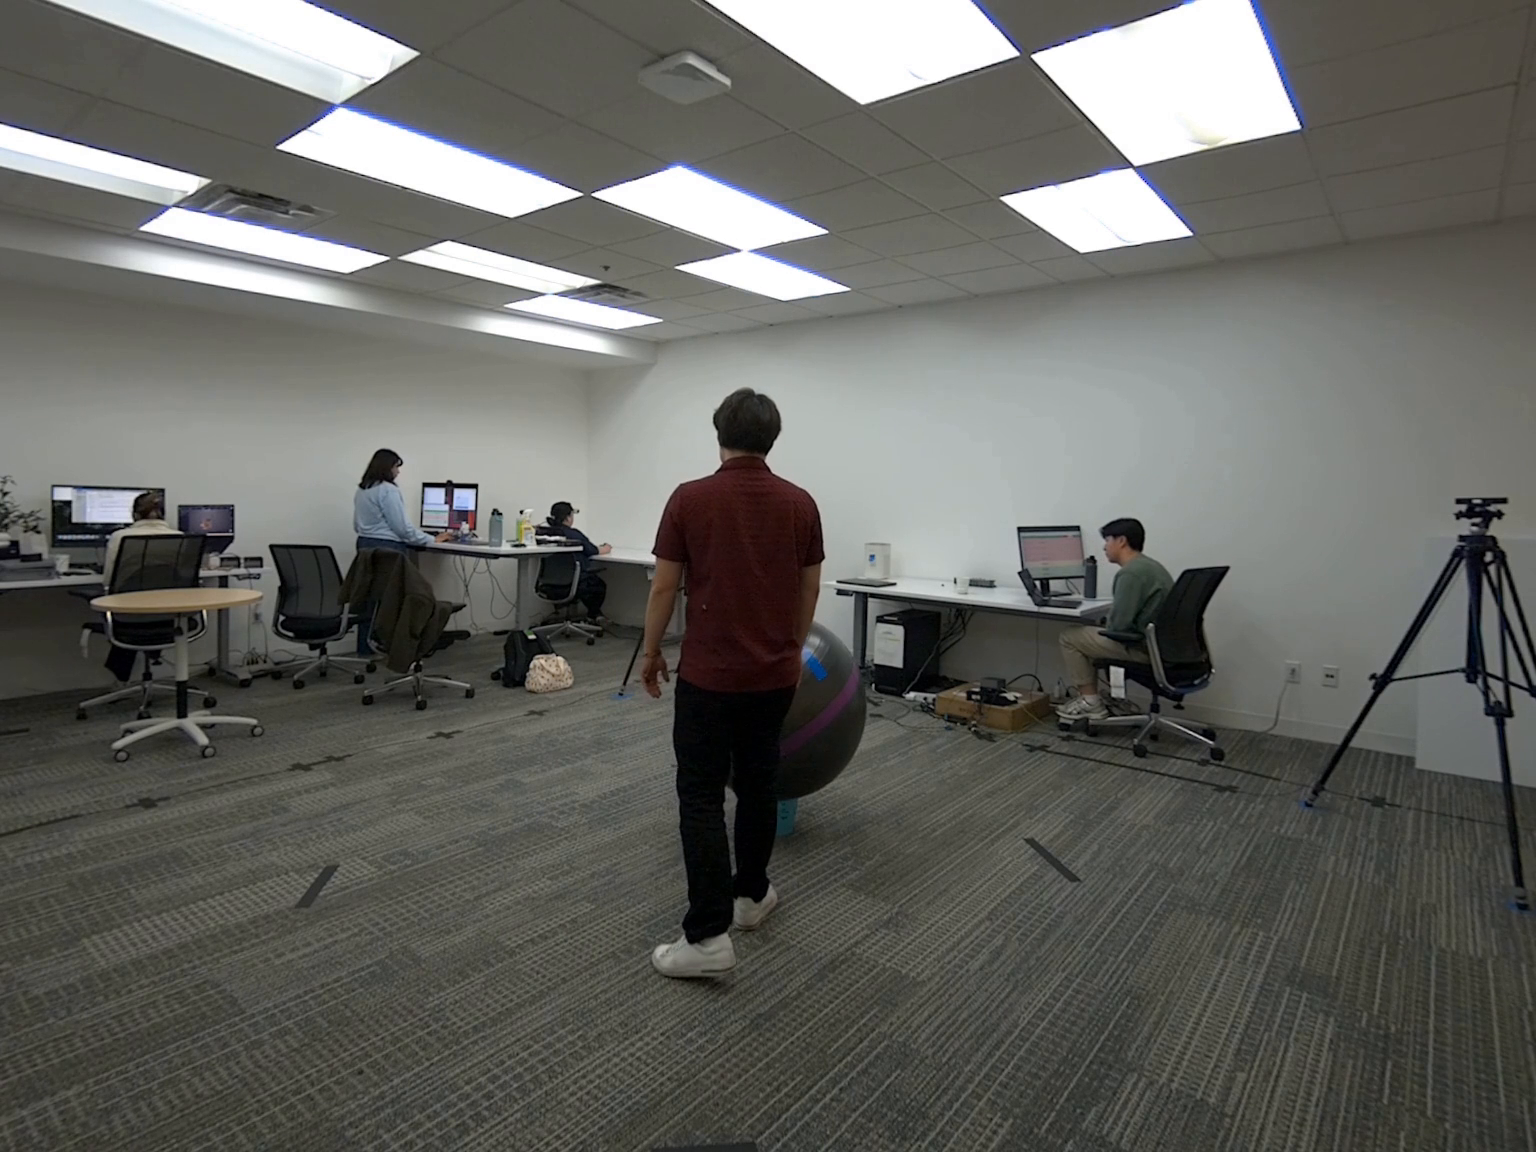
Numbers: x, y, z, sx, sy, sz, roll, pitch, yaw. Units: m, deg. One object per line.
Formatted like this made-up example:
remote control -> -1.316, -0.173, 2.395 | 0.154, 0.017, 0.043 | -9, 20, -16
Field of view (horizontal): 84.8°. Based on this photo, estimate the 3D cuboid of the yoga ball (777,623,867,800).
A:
yoga ball -> 0.015, 0.524, 3.488 | 0.757, 0.755, 0.762 | 1, 4, -2
